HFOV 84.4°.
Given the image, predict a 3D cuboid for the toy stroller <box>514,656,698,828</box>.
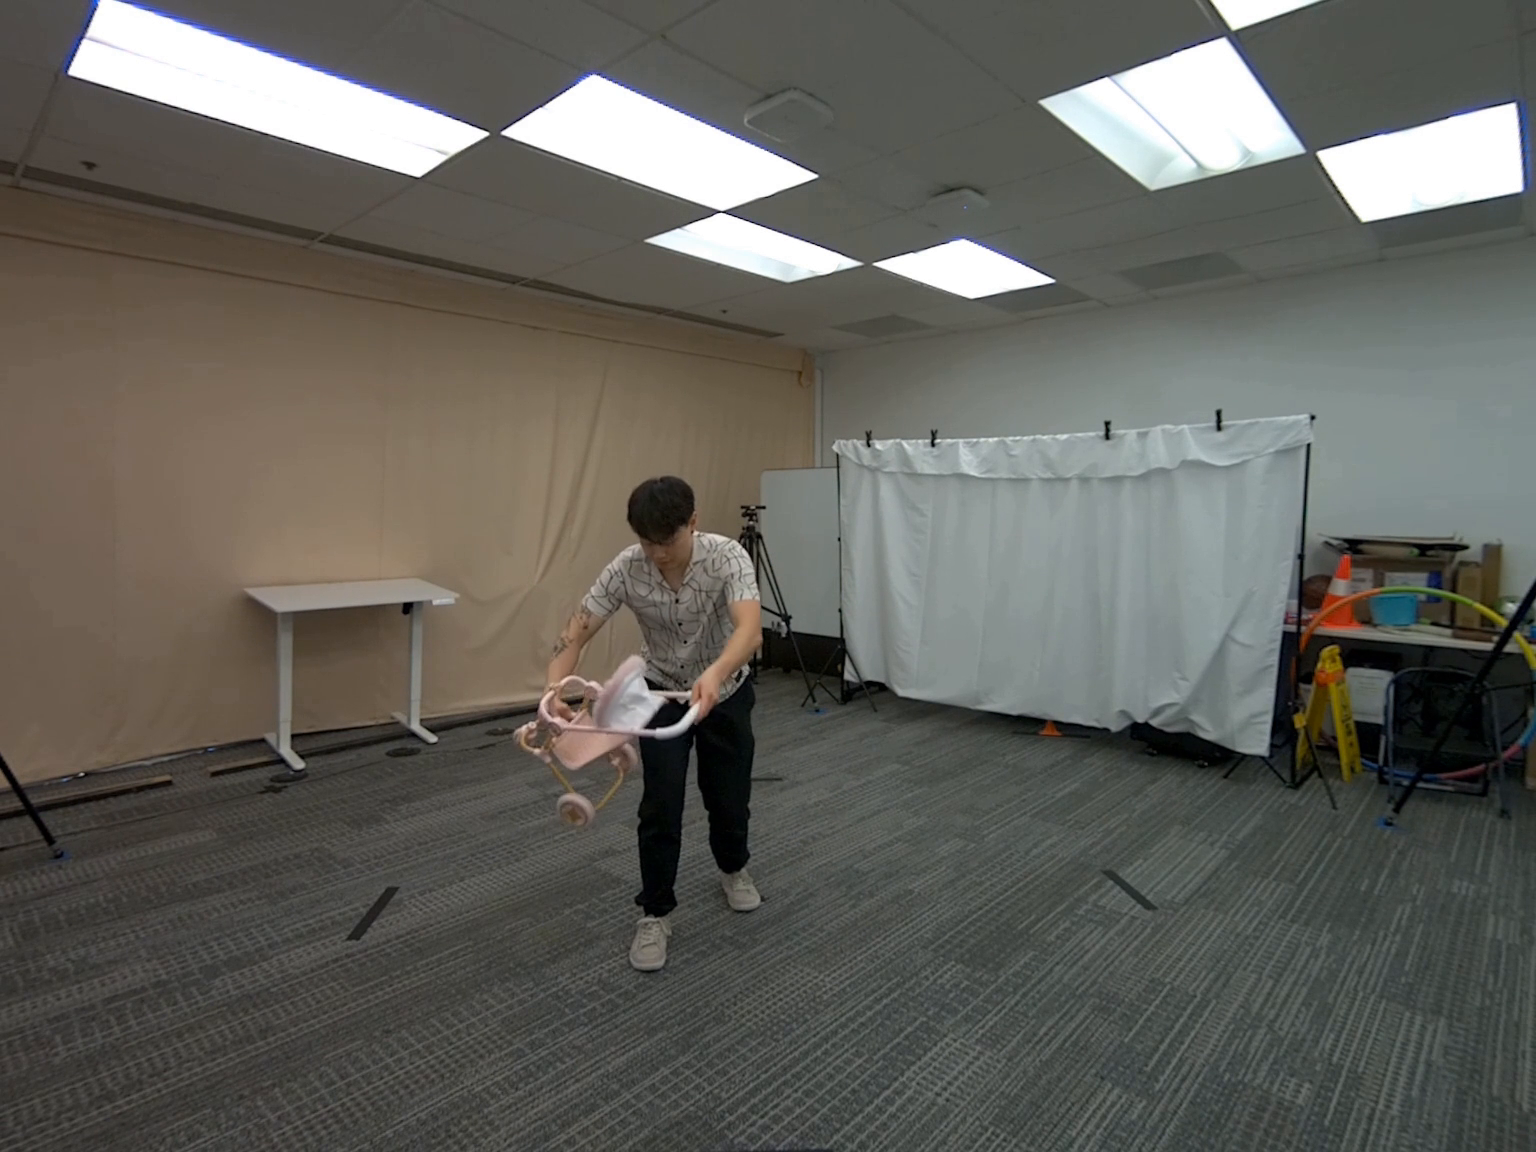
[{"bbox_3d":[-0.454,0.400,2.248,0.538,0.344,0.277,-48,-7,32],"label":"toy stroller"}]
